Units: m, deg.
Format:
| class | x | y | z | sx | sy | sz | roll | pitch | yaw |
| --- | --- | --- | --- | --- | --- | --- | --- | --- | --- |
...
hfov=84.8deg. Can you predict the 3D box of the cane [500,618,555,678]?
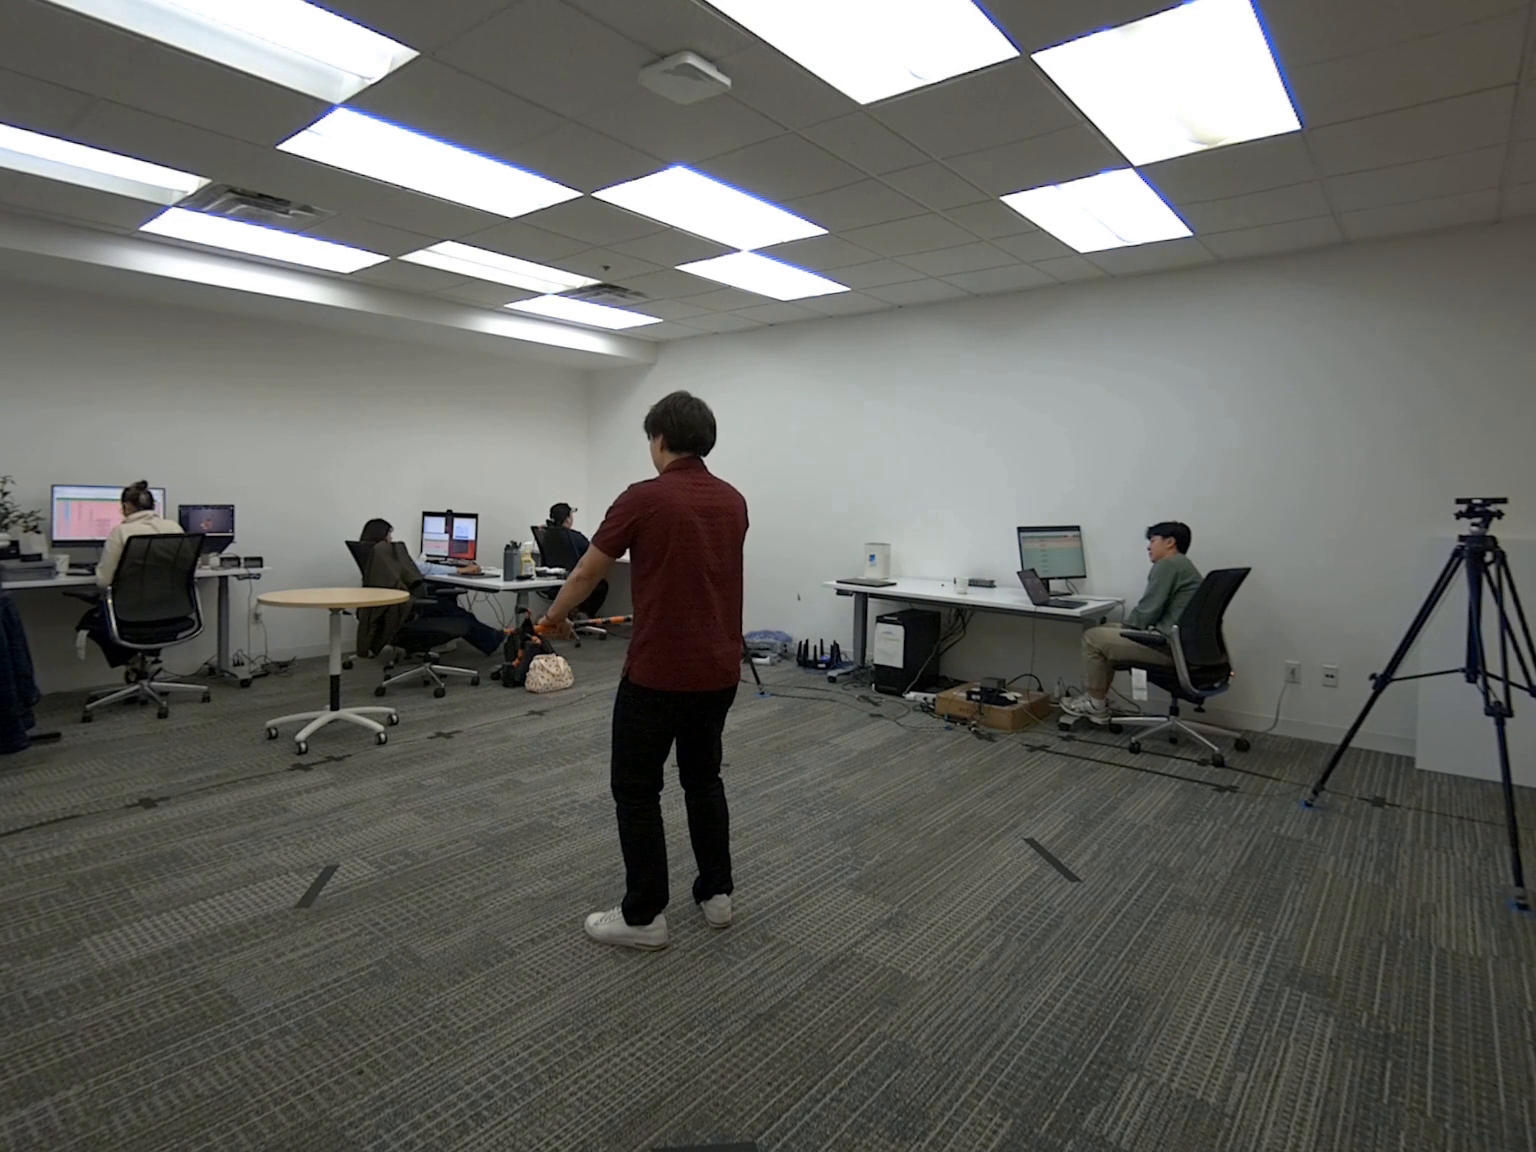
| class | x | y | z | sx | sy | sz | roll | pitch | yaw |
| --- | --- | --- | --- | --- | --- | --- | --- | --- | --- |
| cane | -0.502 | 0.163 | 2.991 | 0.881 | 0.155 | 0.207 | -5 | -25 | -43 |
